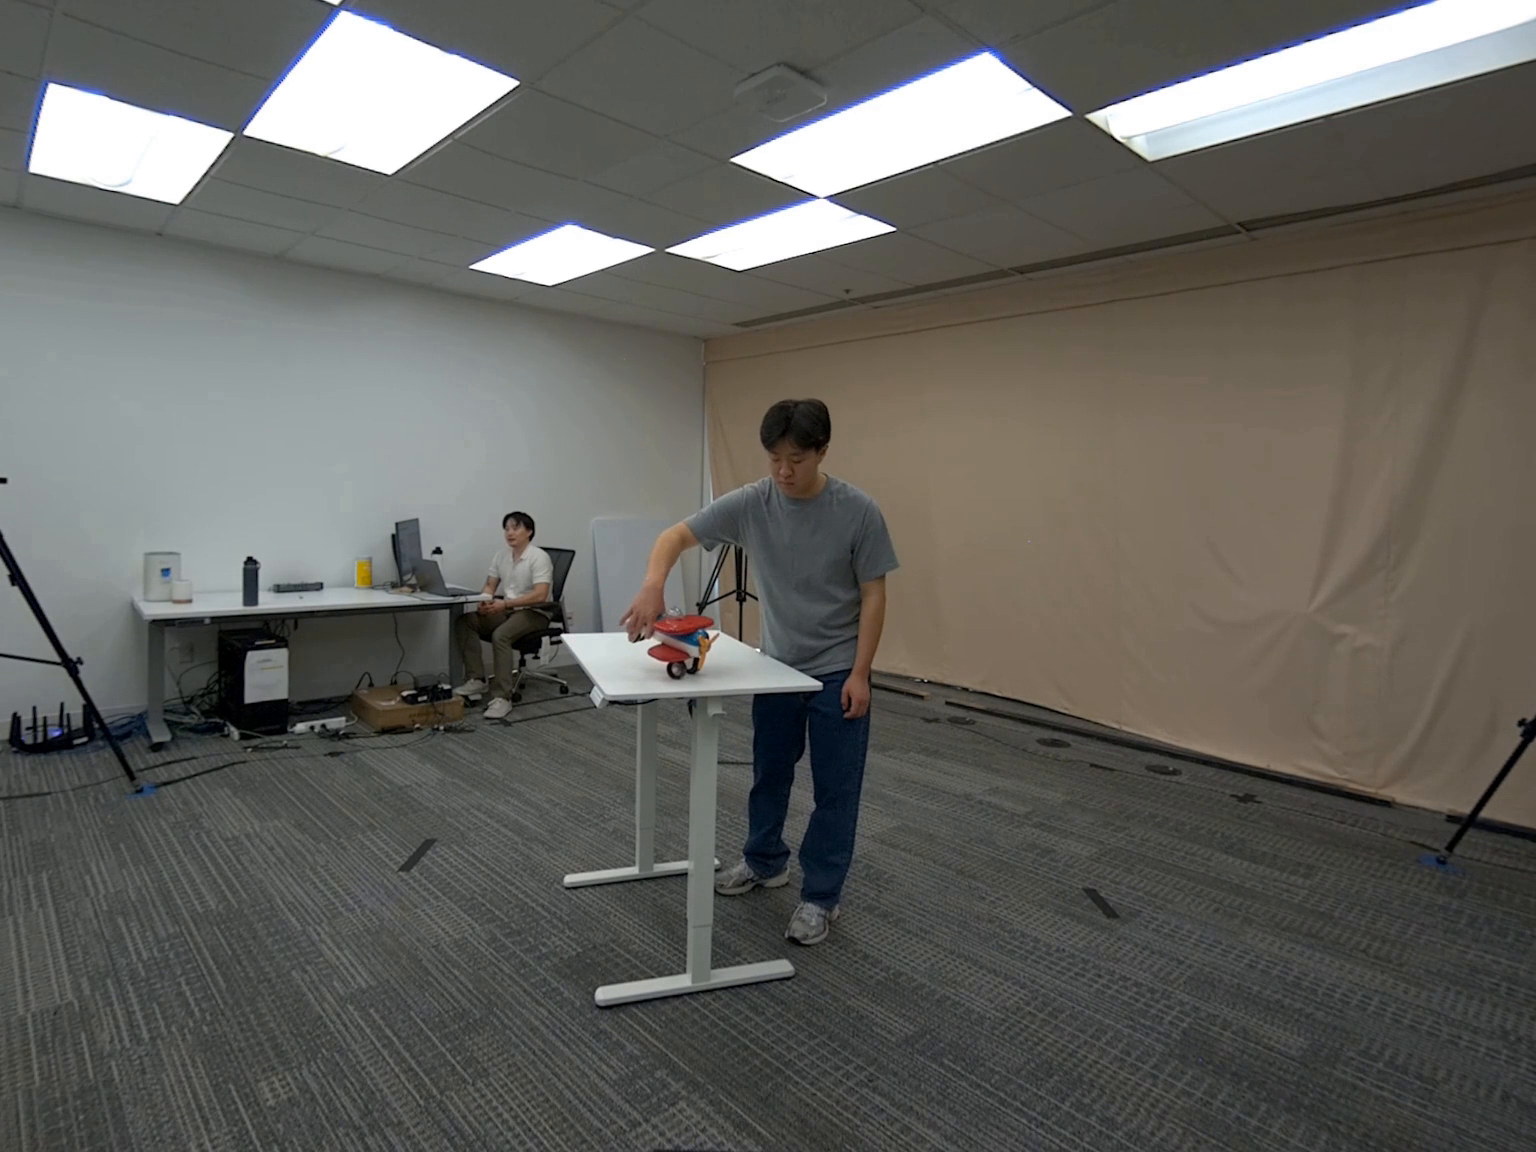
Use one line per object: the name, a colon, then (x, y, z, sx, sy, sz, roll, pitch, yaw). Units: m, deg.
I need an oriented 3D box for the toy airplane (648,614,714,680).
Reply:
toy airplane: (-0.292, 0.178, 2.377, 0.258, 0.156, 0.254, 25, 15, -6)
